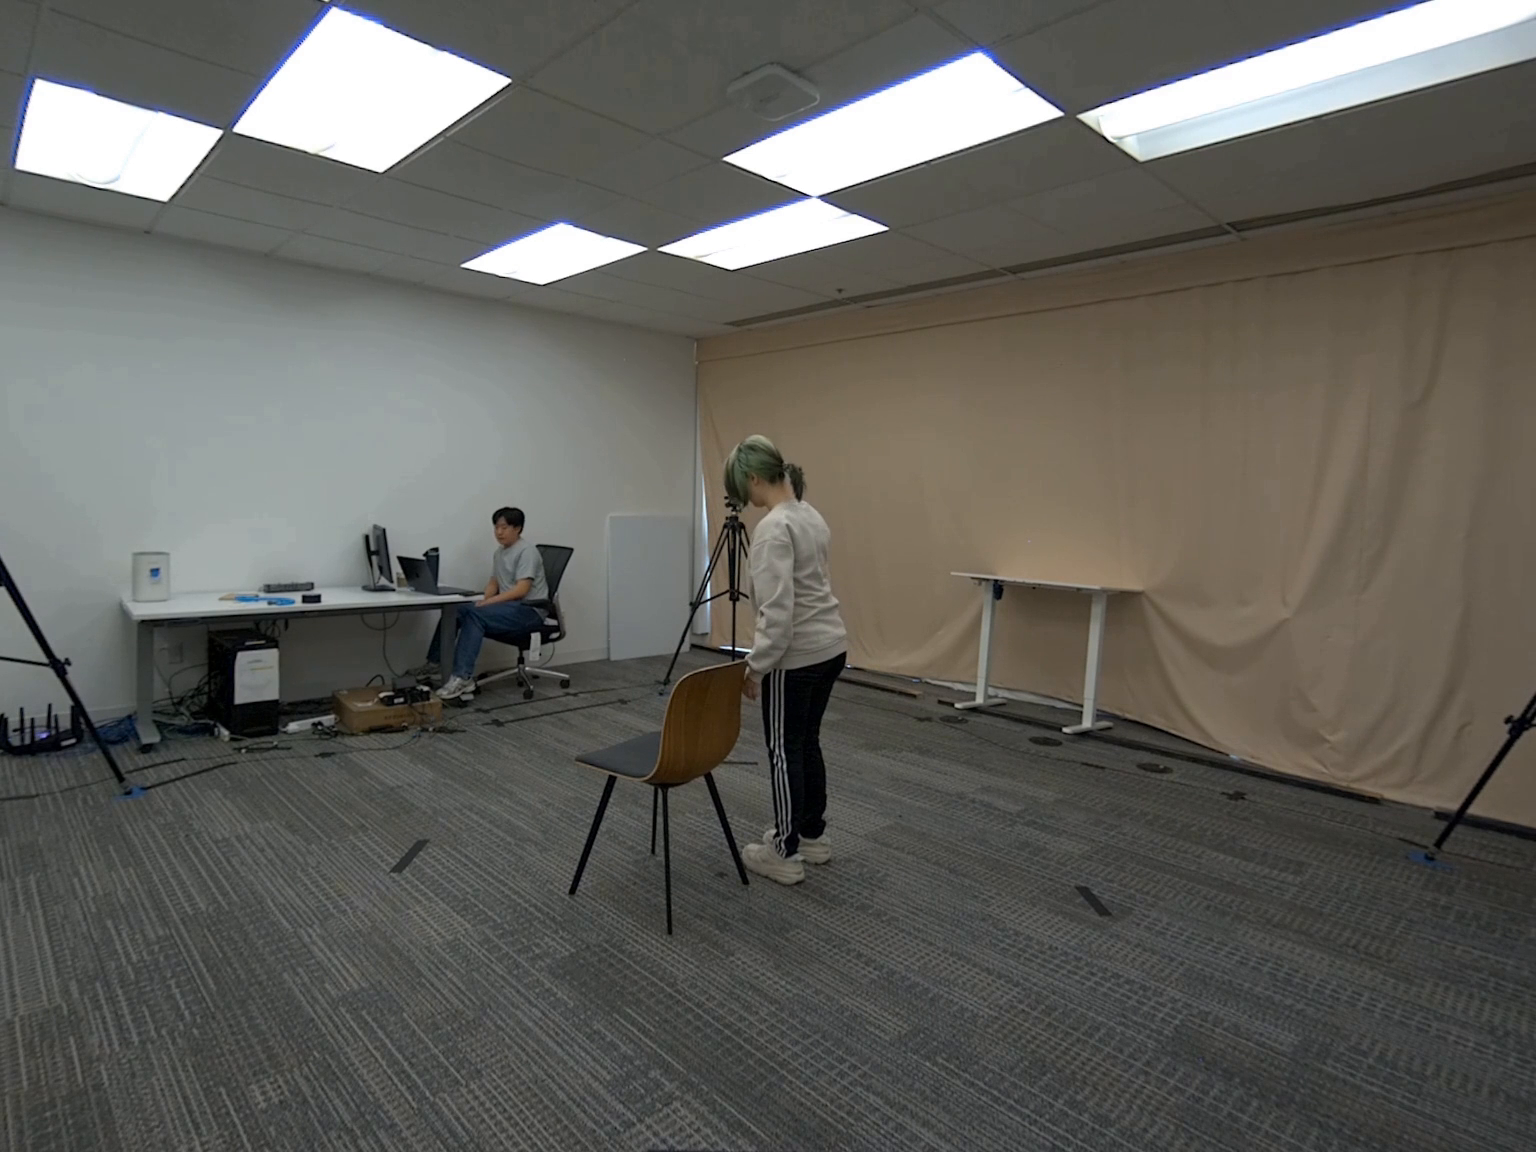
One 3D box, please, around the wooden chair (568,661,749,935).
[{"bbox_3d":[-0.384,0.686,2.946,0.536,0.874,0.468,8,7,34],"label":"wooden chair"}]
